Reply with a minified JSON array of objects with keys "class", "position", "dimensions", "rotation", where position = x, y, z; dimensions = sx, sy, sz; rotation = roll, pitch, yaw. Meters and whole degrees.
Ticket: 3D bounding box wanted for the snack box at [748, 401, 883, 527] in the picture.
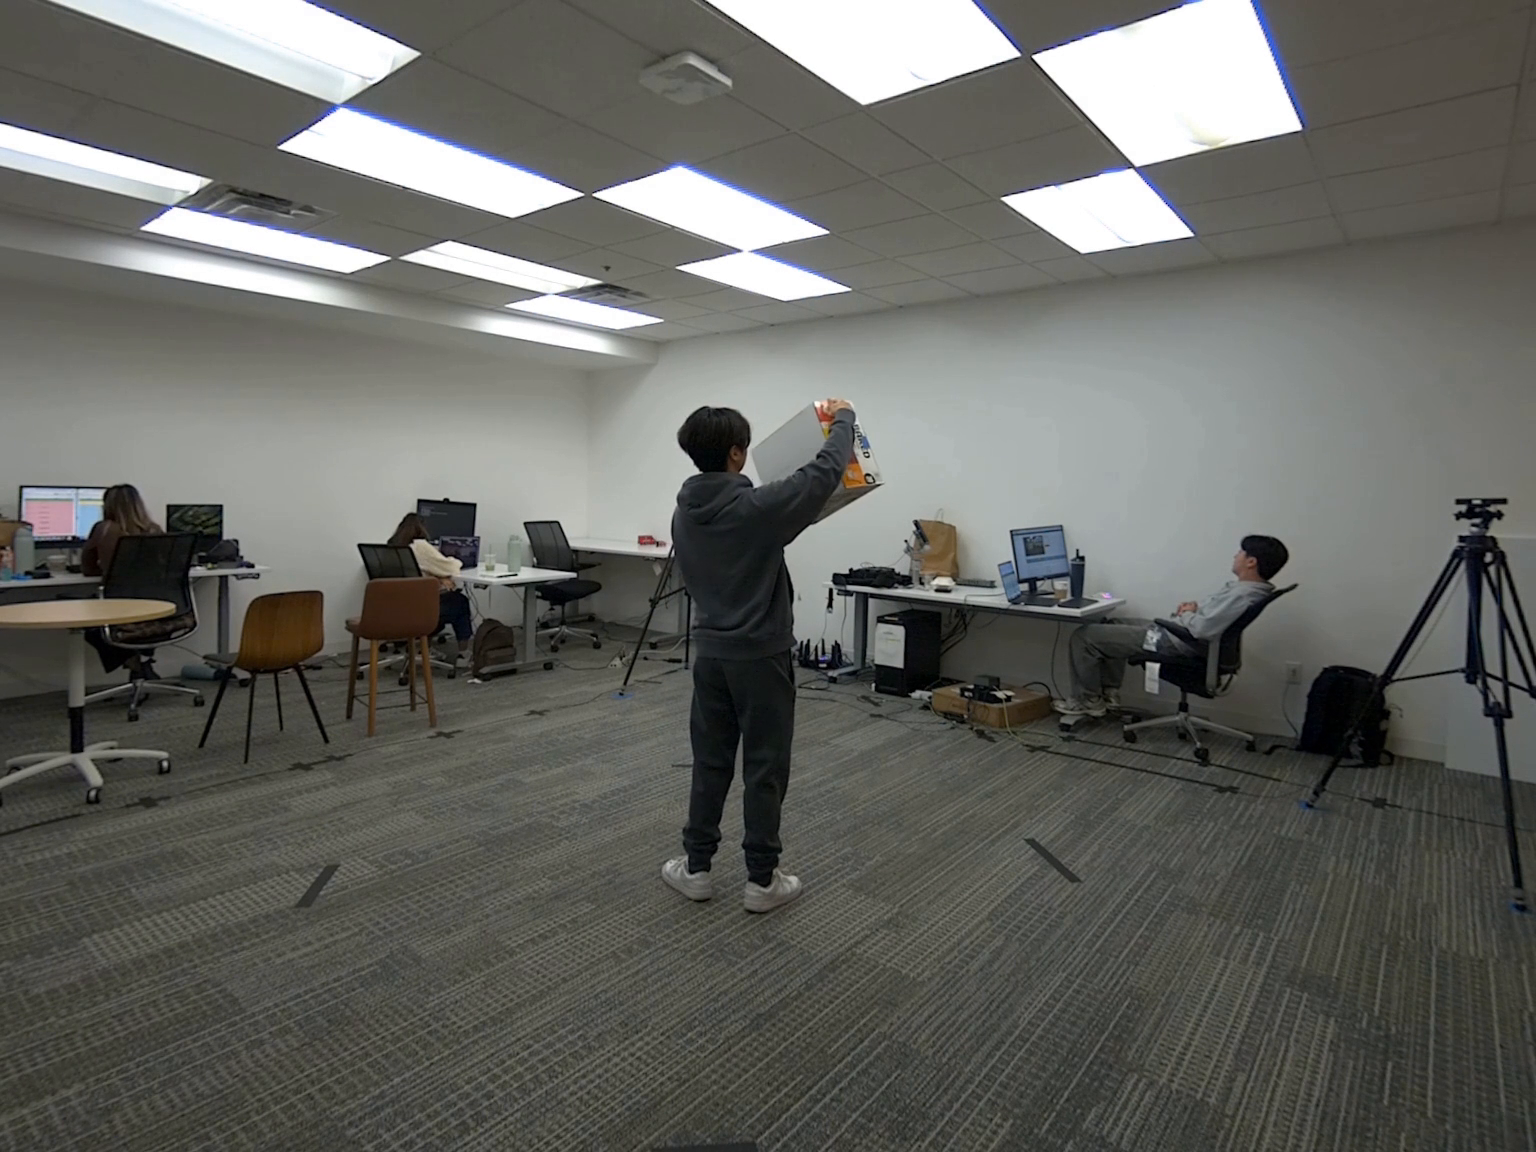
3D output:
[{"class":"snack box","position":[0.166,-0.414,3.184],"dimensions":[0.200,0.346,0.409],"rotation":[-9,-15,-39]}]
